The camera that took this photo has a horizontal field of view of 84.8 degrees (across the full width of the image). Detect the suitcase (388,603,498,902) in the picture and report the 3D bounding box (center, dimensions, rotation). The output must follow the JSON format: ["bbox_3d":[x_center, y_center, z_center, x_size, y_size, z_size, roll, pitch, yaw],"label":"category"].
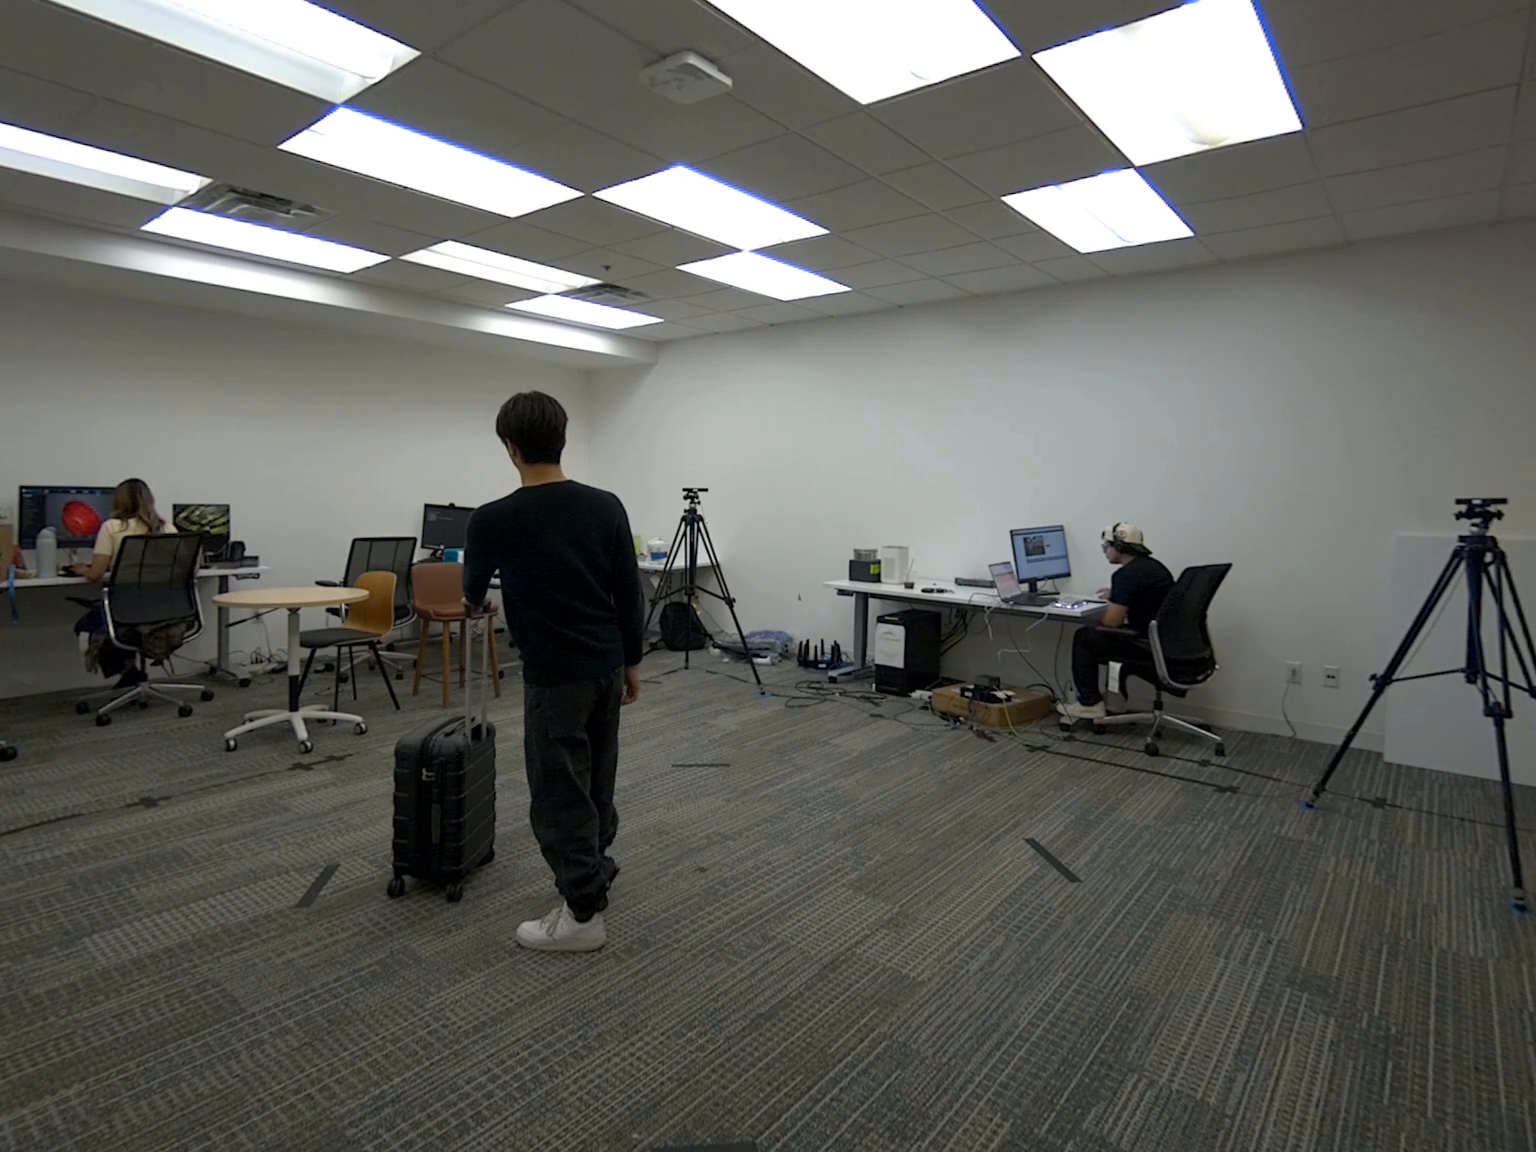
[{"bbox_3d":[-1.147,0.588,3.006,0.259,0.977,0.382,1,2,5],"label":"suitcase"}]
